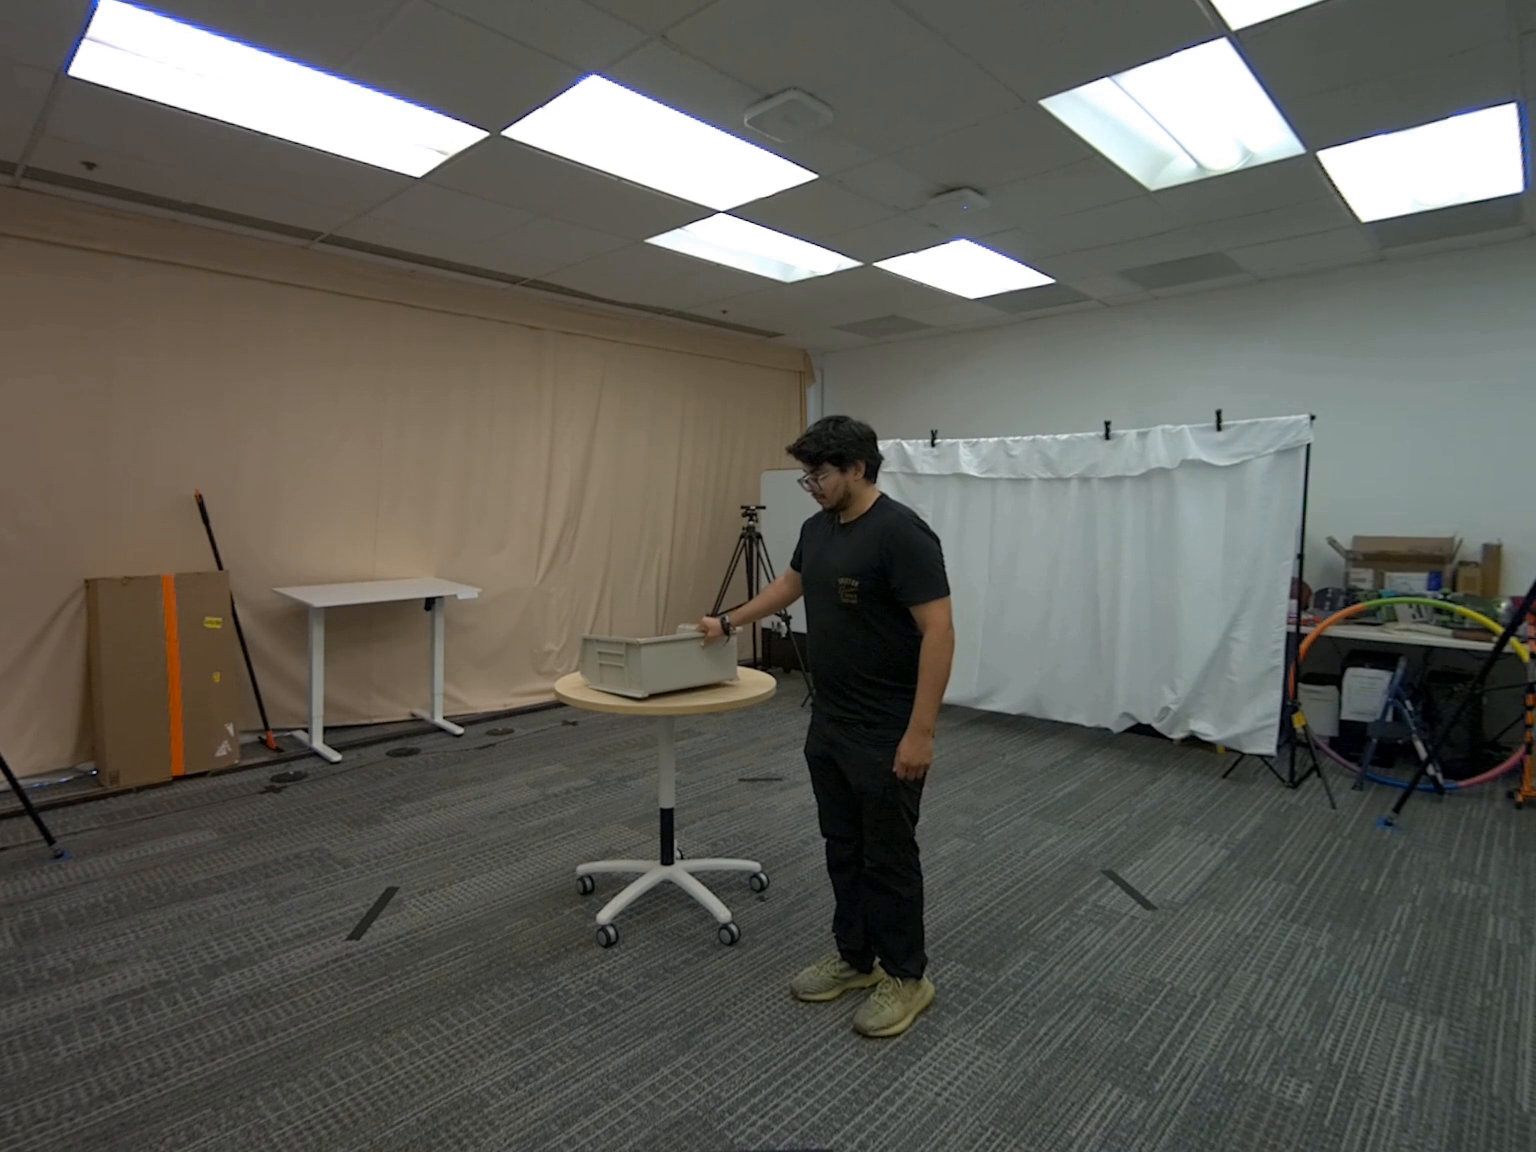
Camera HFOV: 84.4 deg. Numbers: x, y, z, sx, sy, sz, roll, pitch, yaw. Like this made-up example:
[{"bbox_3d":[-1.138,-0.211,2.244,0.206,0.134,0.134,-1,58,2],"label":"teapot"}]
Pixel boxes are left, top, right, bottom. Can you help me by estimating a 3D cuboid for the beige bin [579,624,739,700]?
[{"bbox_3d":[-0.366,0.276,2.846,0.409,0.189,0.389,-2,3,-41],"label":"beige bin"}]
